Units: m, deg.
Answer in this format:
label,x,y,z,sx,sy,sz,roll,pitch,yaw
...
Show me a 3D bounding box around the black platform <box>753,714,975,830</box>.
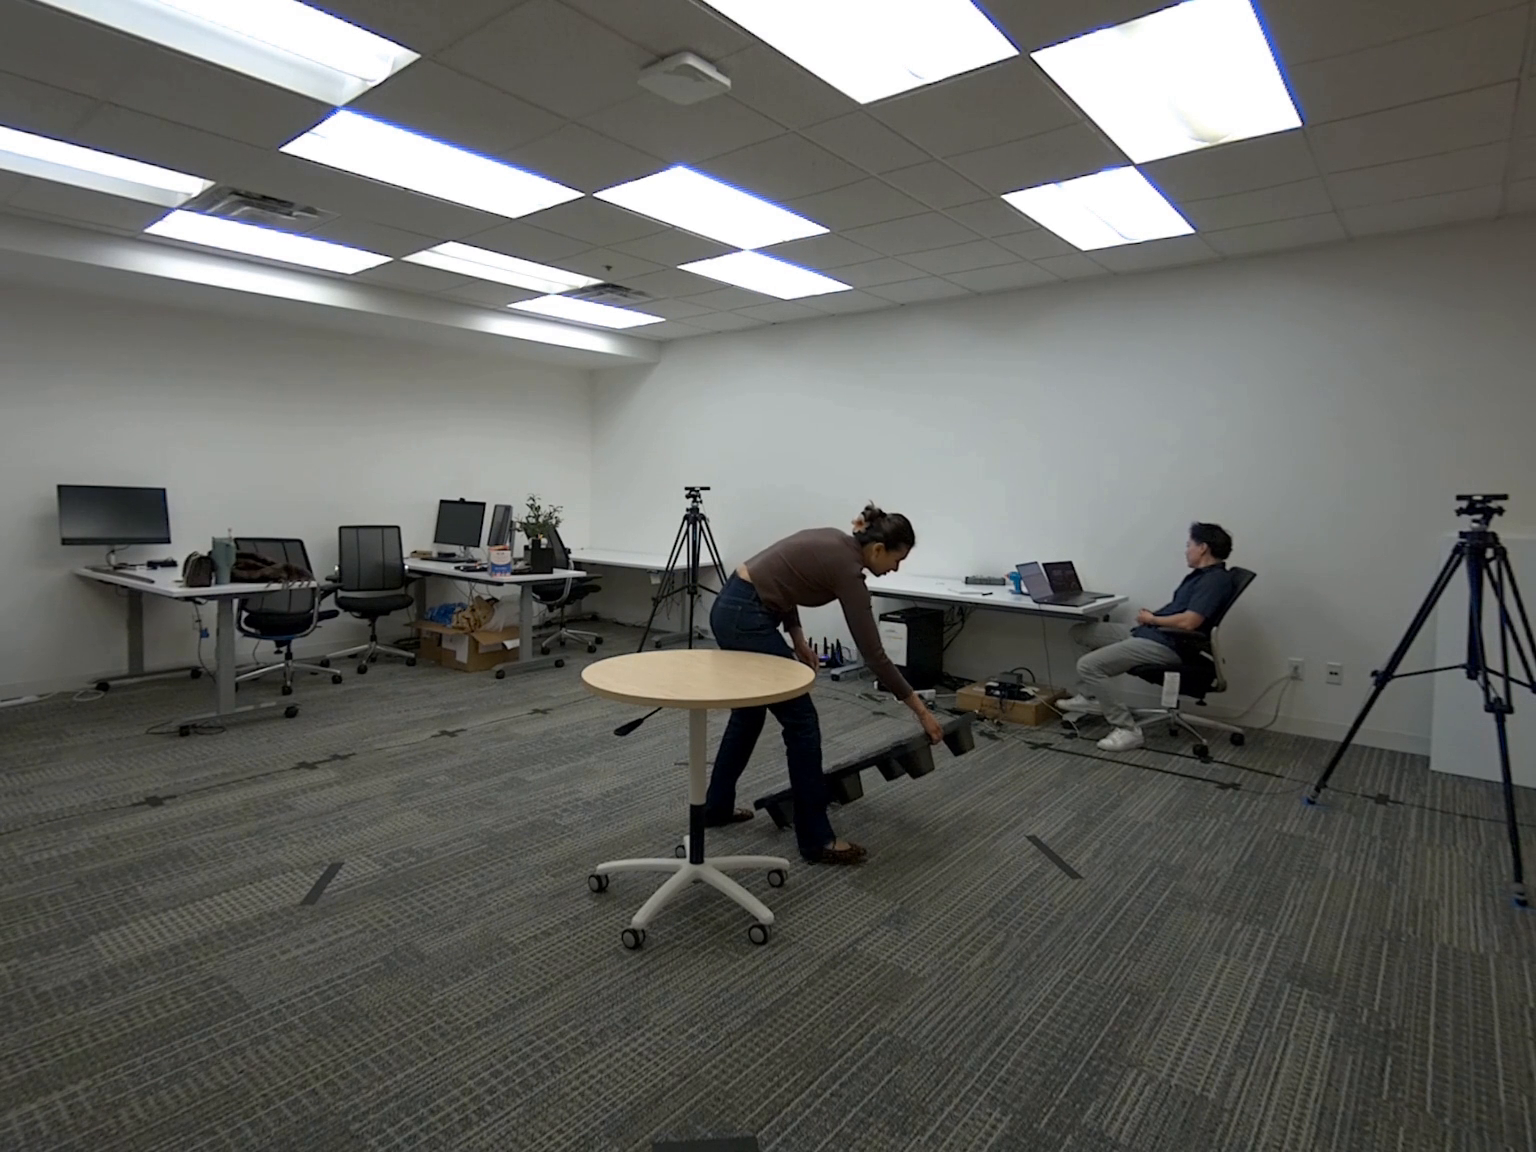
label,x,y,z,sx,sy,sz,roll,pitch,yaw
black platform,0.410,0.799,3.477,0.814,0.146,0.588,-32,-15,35
